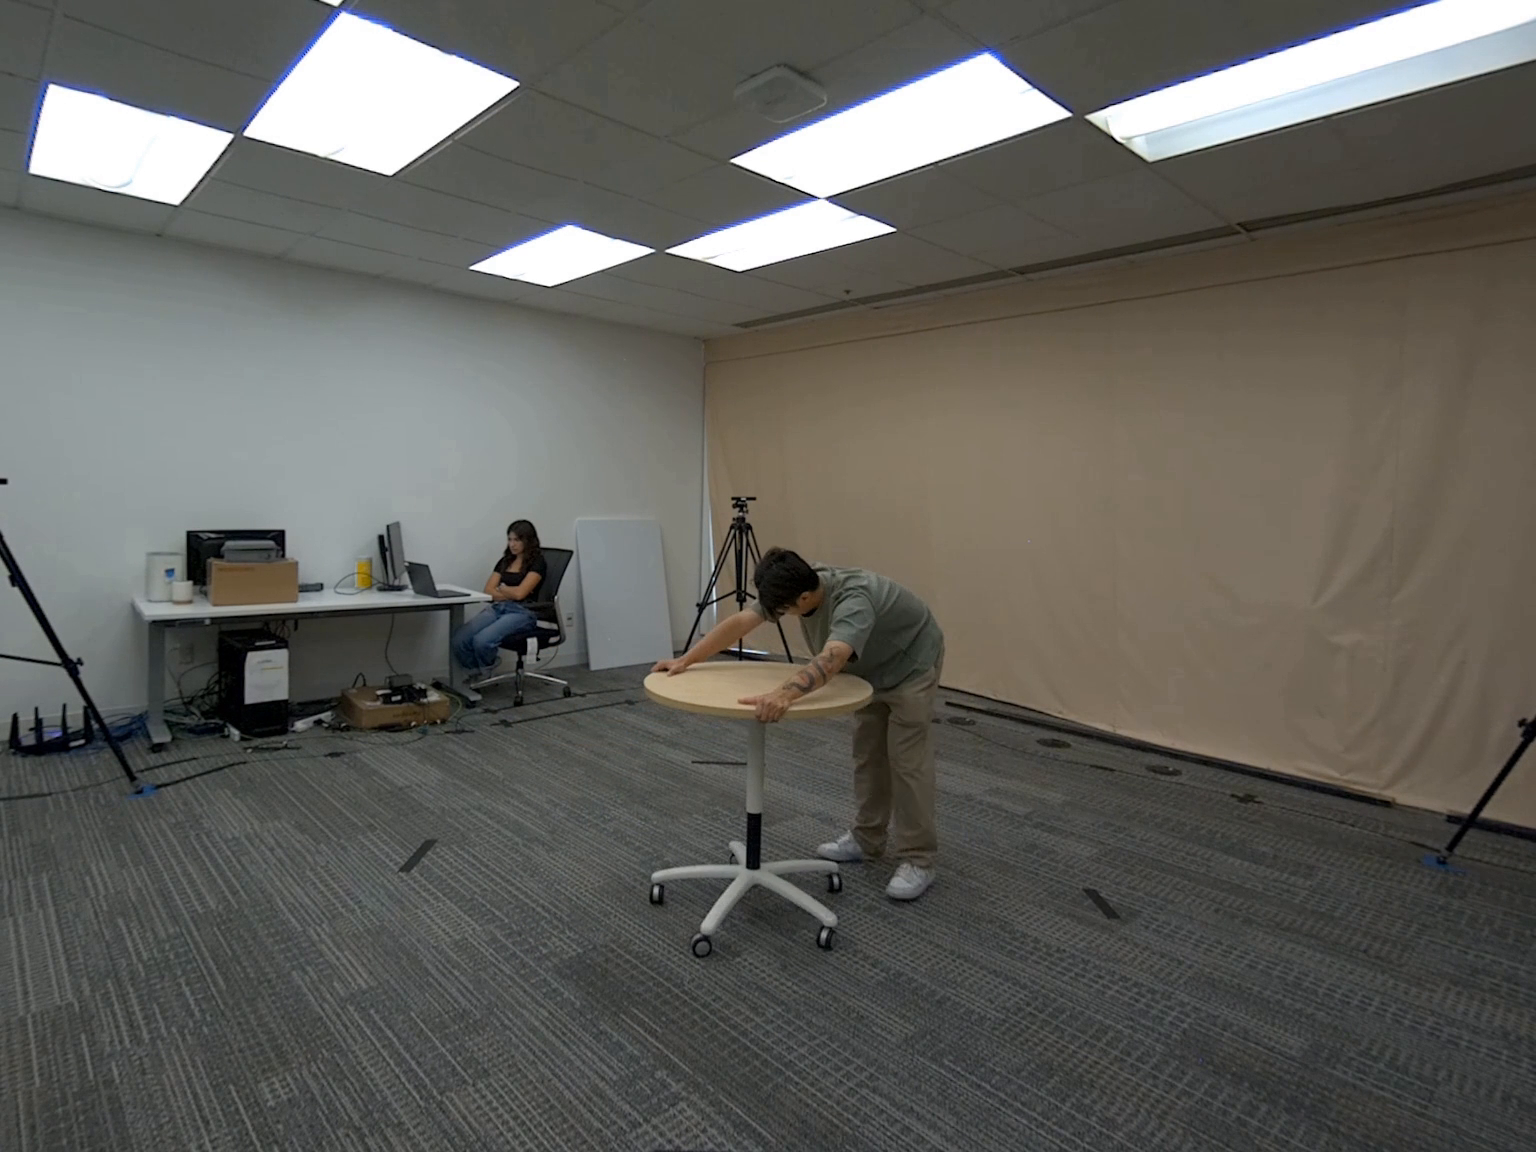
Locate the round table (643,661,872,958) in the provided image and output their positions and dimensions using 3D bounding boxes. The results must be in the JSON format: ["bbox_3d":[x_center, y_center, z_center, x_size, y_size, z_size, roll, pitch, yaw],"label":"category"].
[{"bbox_3d":[-0.045,0.747,2.824,0.784,0.784,0.788,1,4,-1],"label":"round table"}]
